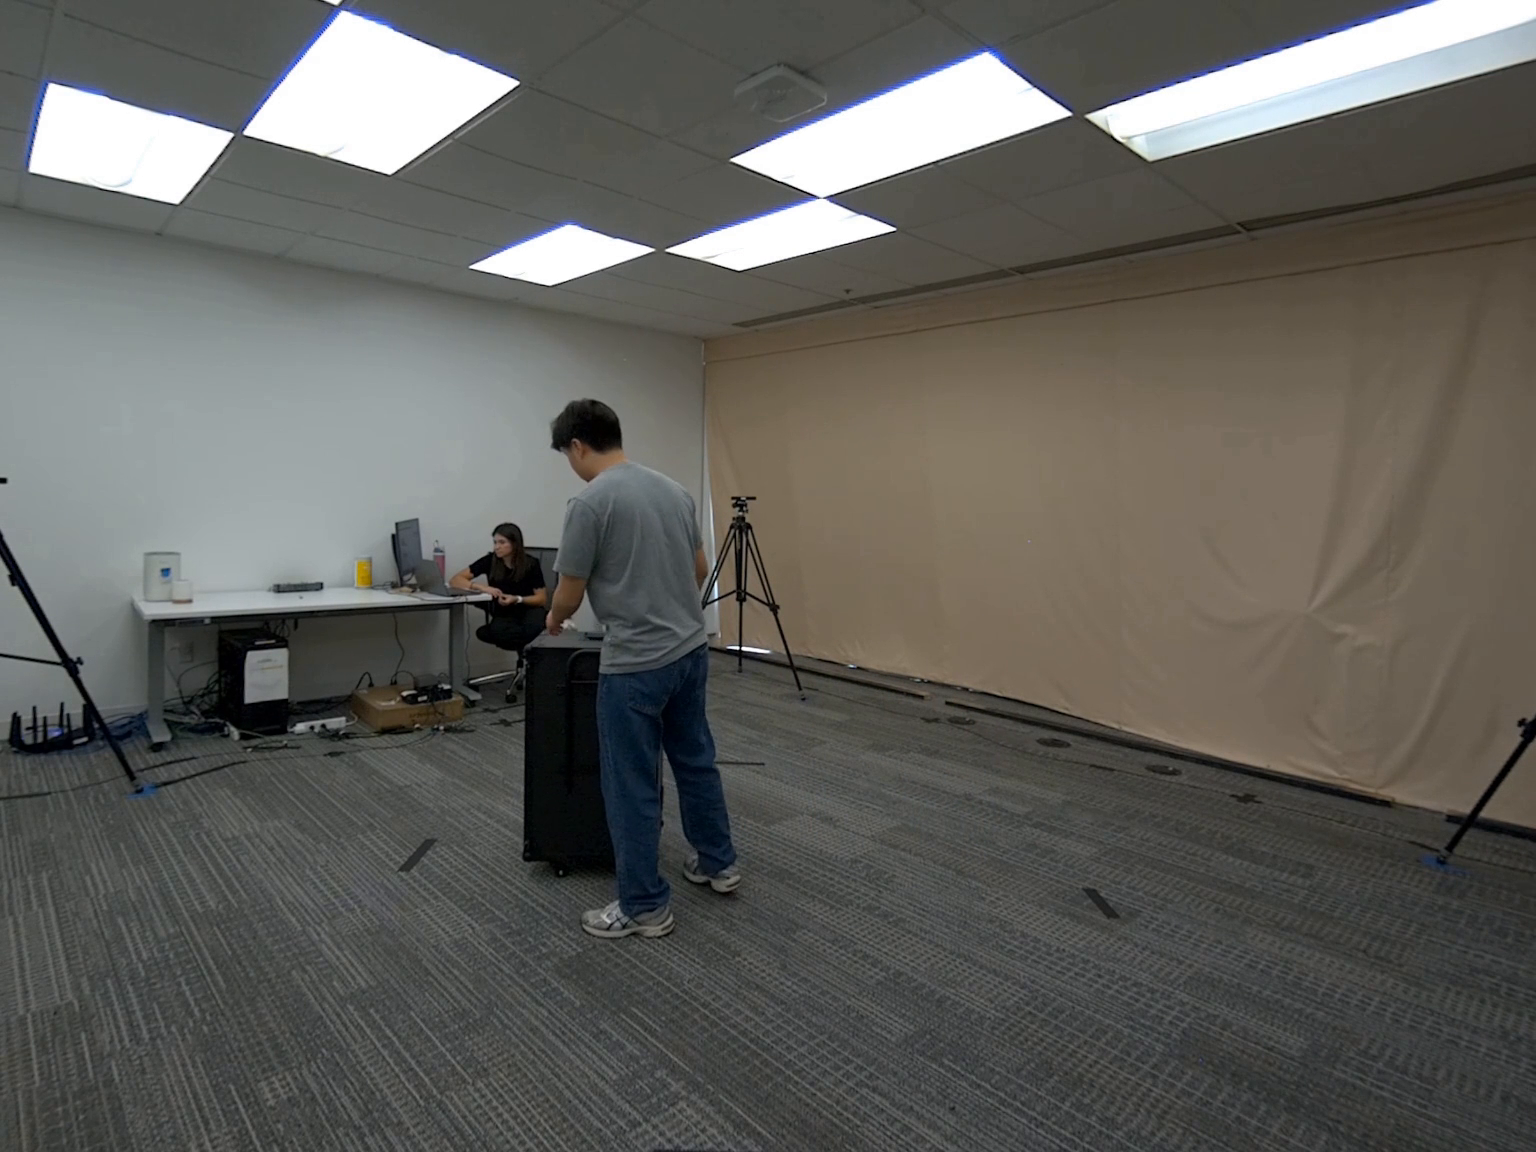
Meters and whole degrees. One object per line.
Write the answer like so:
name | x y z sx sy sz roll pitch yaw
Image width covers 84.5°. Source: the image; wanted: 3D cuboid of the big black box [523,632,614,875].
big black box | -0.651 0.664 3.176 0.520 0.859 0.398 2 4 -2
